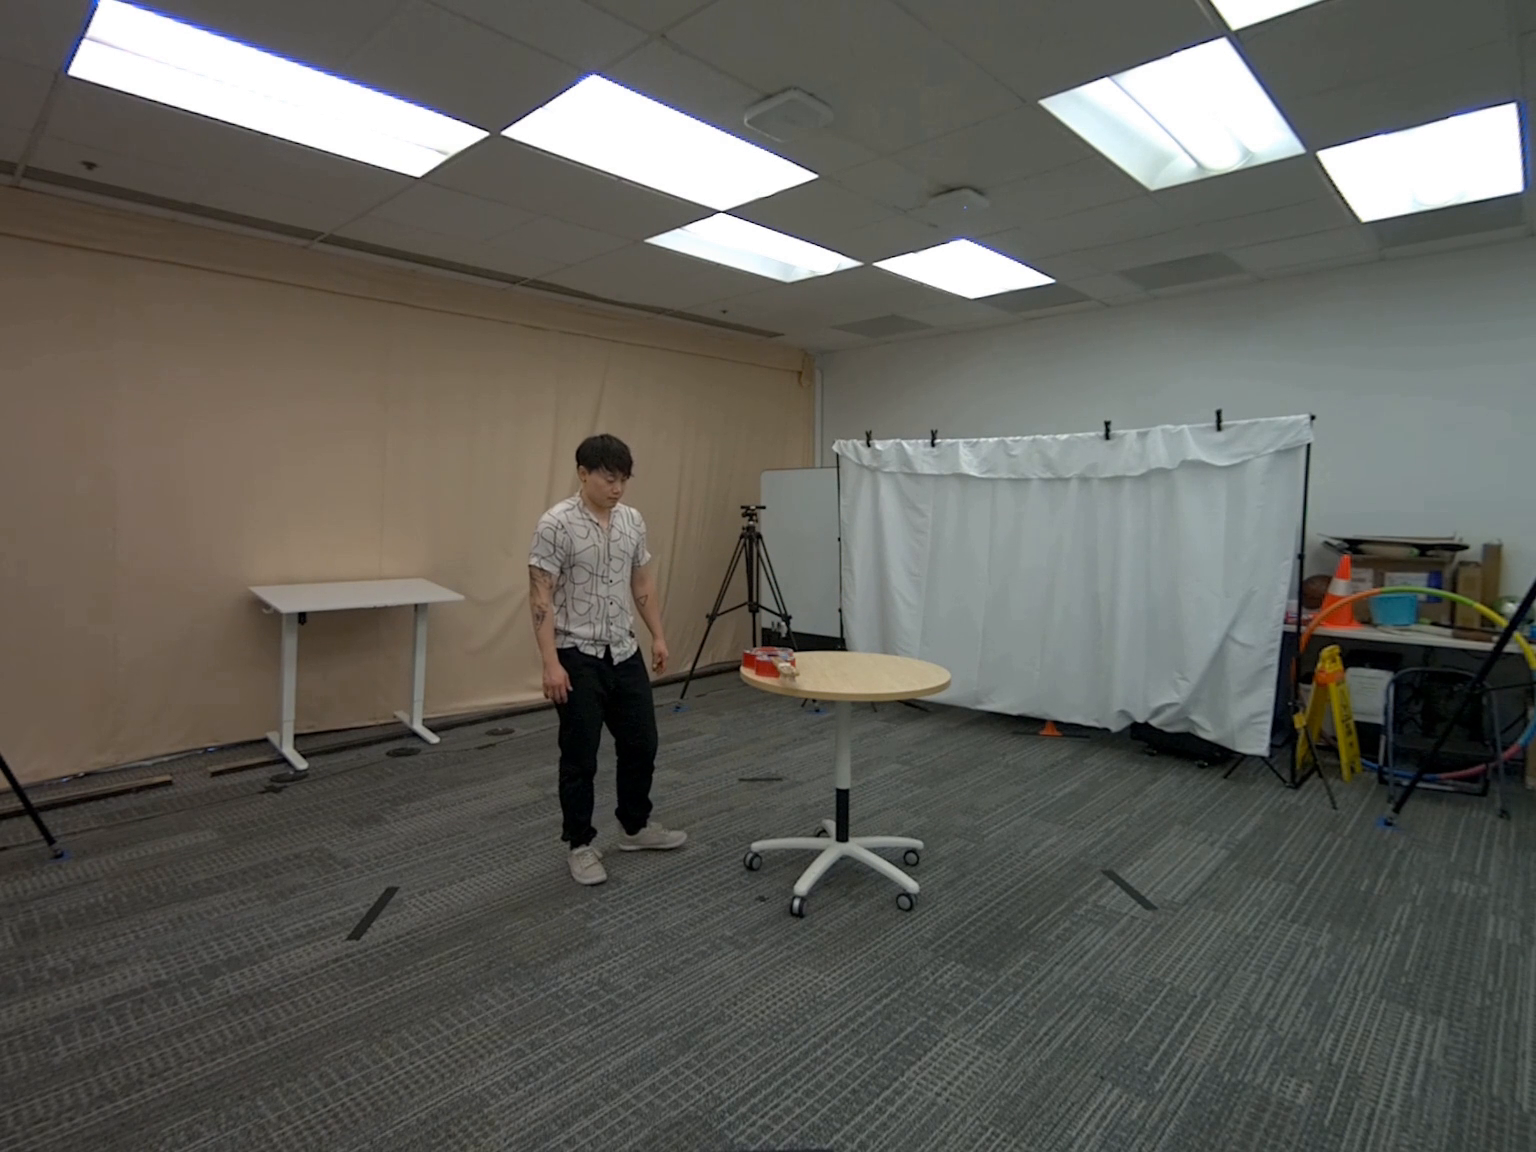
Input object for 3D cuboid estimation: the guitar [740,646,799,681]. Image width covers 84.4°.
[{"bbox_3d":[0.004,0.326,3.004,0.193,0.070,0.499,1,5,-1],"label":"guitar"}]
